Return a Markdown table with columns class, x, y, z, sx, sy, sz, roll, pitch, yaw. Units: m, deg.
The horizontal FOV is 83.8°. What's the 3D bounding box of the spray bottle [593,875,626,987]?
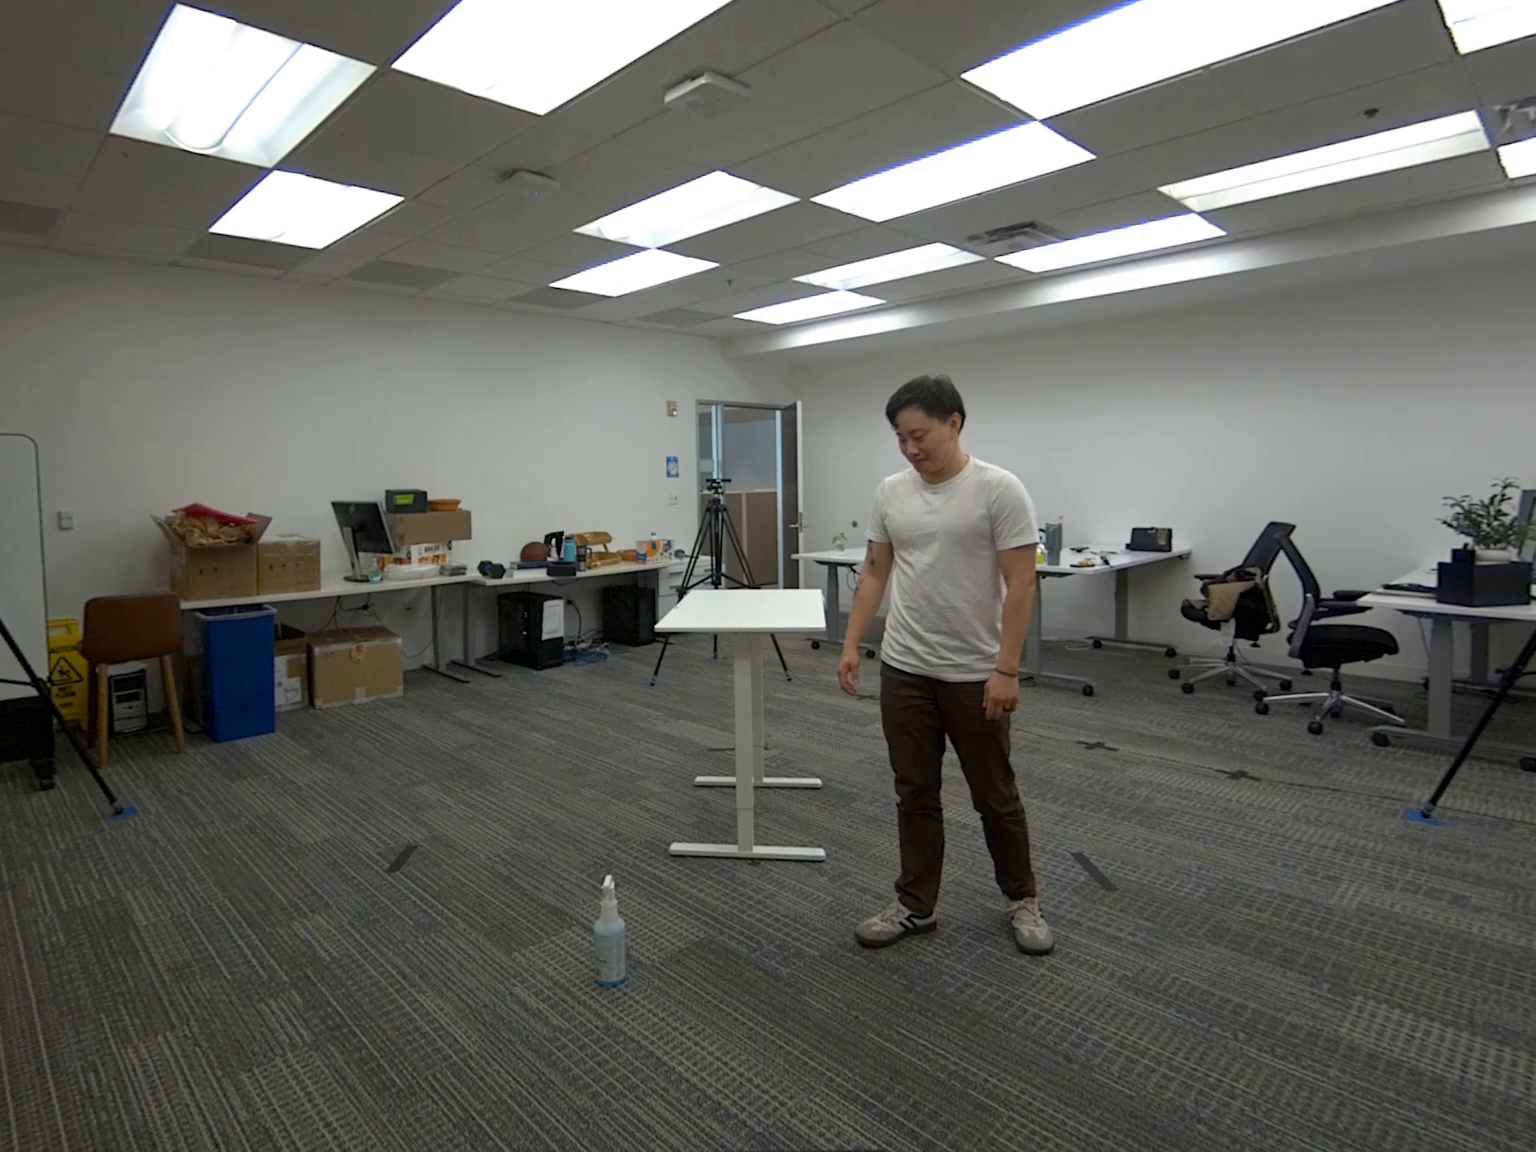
| class | x | y | z | sx | sy | sz | roll | pitch | yaw |
| --- | --- | --- | --- | --- | --- | --- | --- | --- | --- |
| spray bottle | -0.440 | 1.000 | 2.394 | 0.089 | 0.296 | 0.088 | 1 | 4 | 25 |
